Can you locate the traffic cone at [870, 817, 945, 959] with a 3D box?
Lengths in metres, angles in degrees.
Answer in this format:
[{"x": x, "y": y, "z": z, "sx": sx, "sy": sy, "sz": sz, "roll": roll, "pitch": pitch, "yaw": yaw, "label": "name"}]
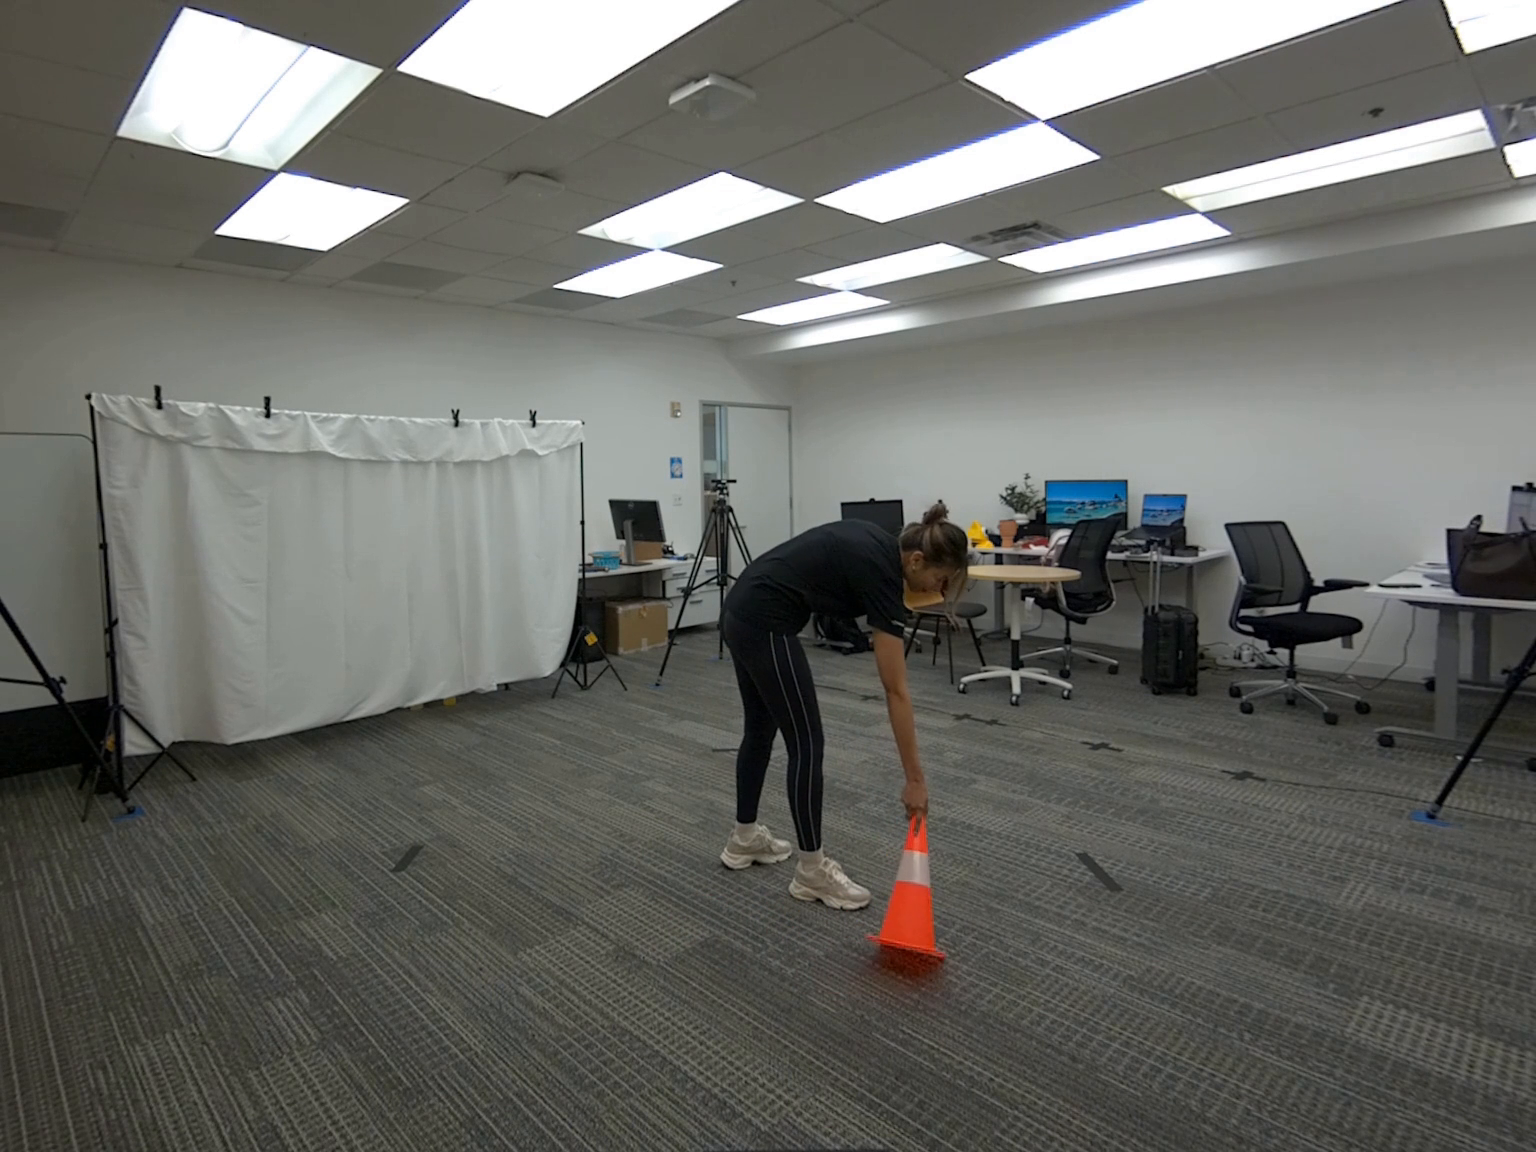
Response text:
[{"x": 0.444, "y": 0.900, "z": 2.523, "sx": 0.208, "sy": 0.389, "sz": 0.197, "roll": 1, "pitch": -26, "yaw": 23, "label": "traffic cone"}]
